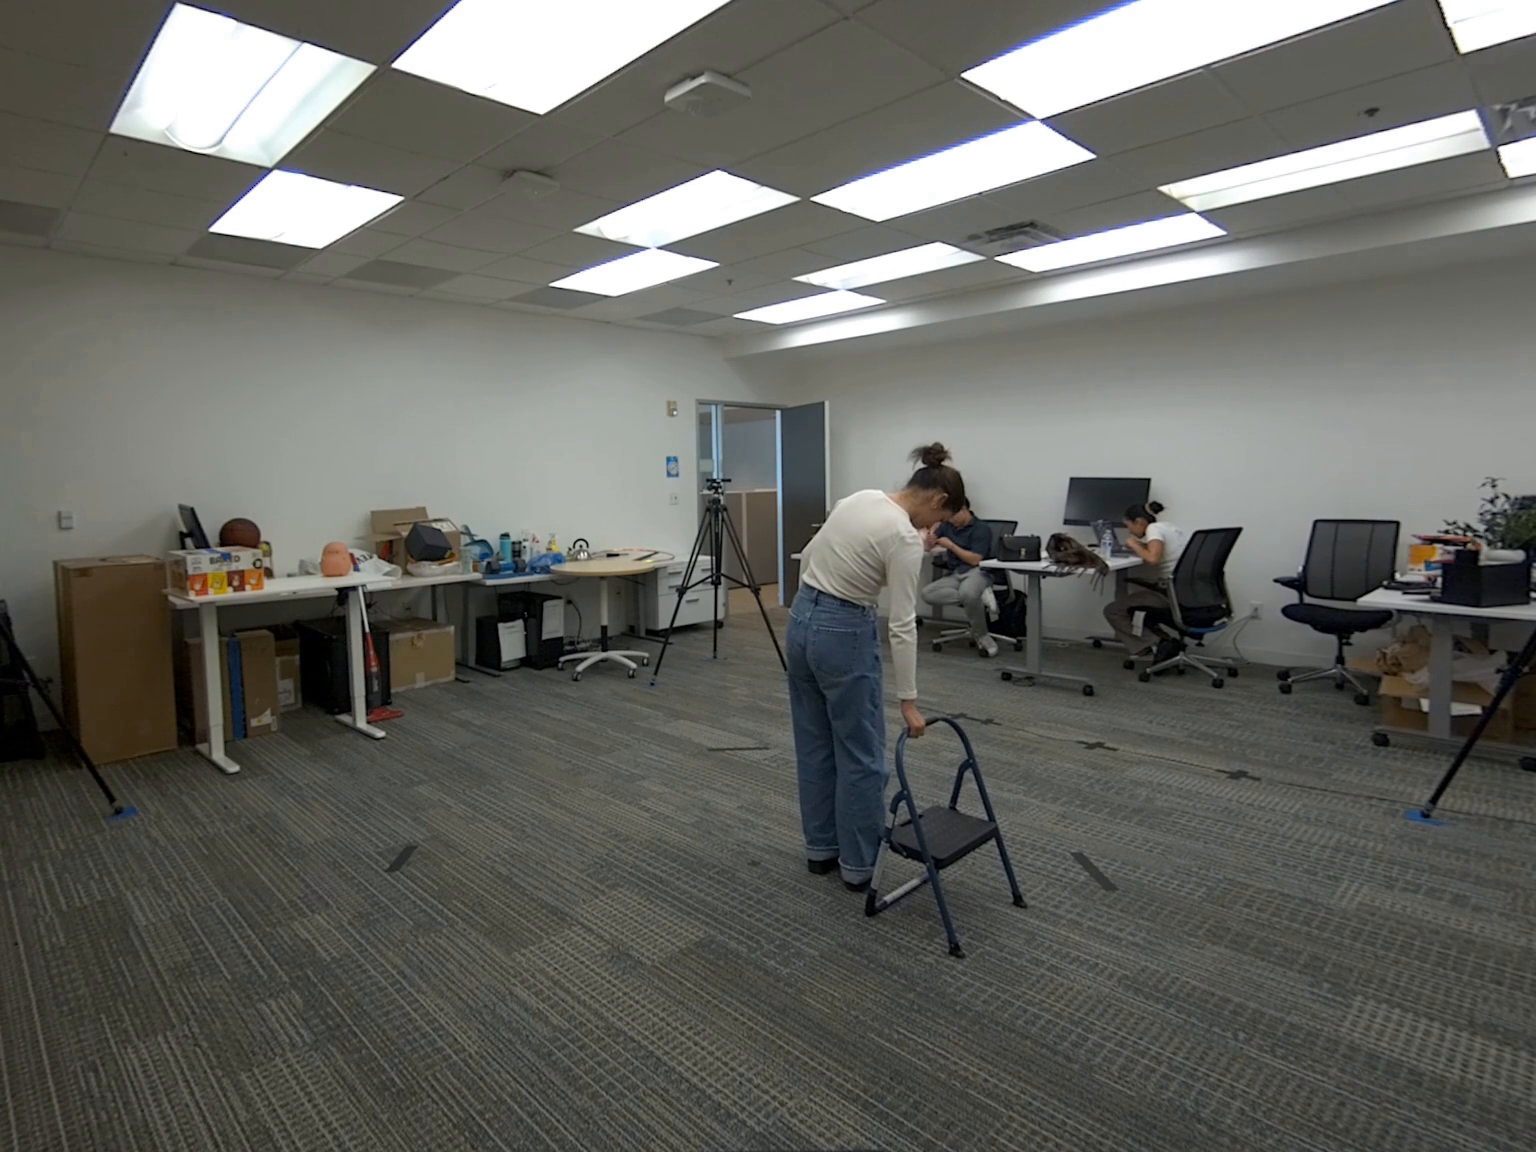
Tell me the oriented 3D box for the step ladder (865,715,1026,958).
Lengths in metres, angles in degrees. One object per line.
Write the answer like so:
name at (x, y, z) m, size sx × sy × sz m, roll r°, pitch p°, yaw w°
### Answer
step ladder at (0.572, 0.778, 2.718) m, size 0.360 × 0.604 × 0.419 m, roll 4°, pitch 6°, yaw 45°
